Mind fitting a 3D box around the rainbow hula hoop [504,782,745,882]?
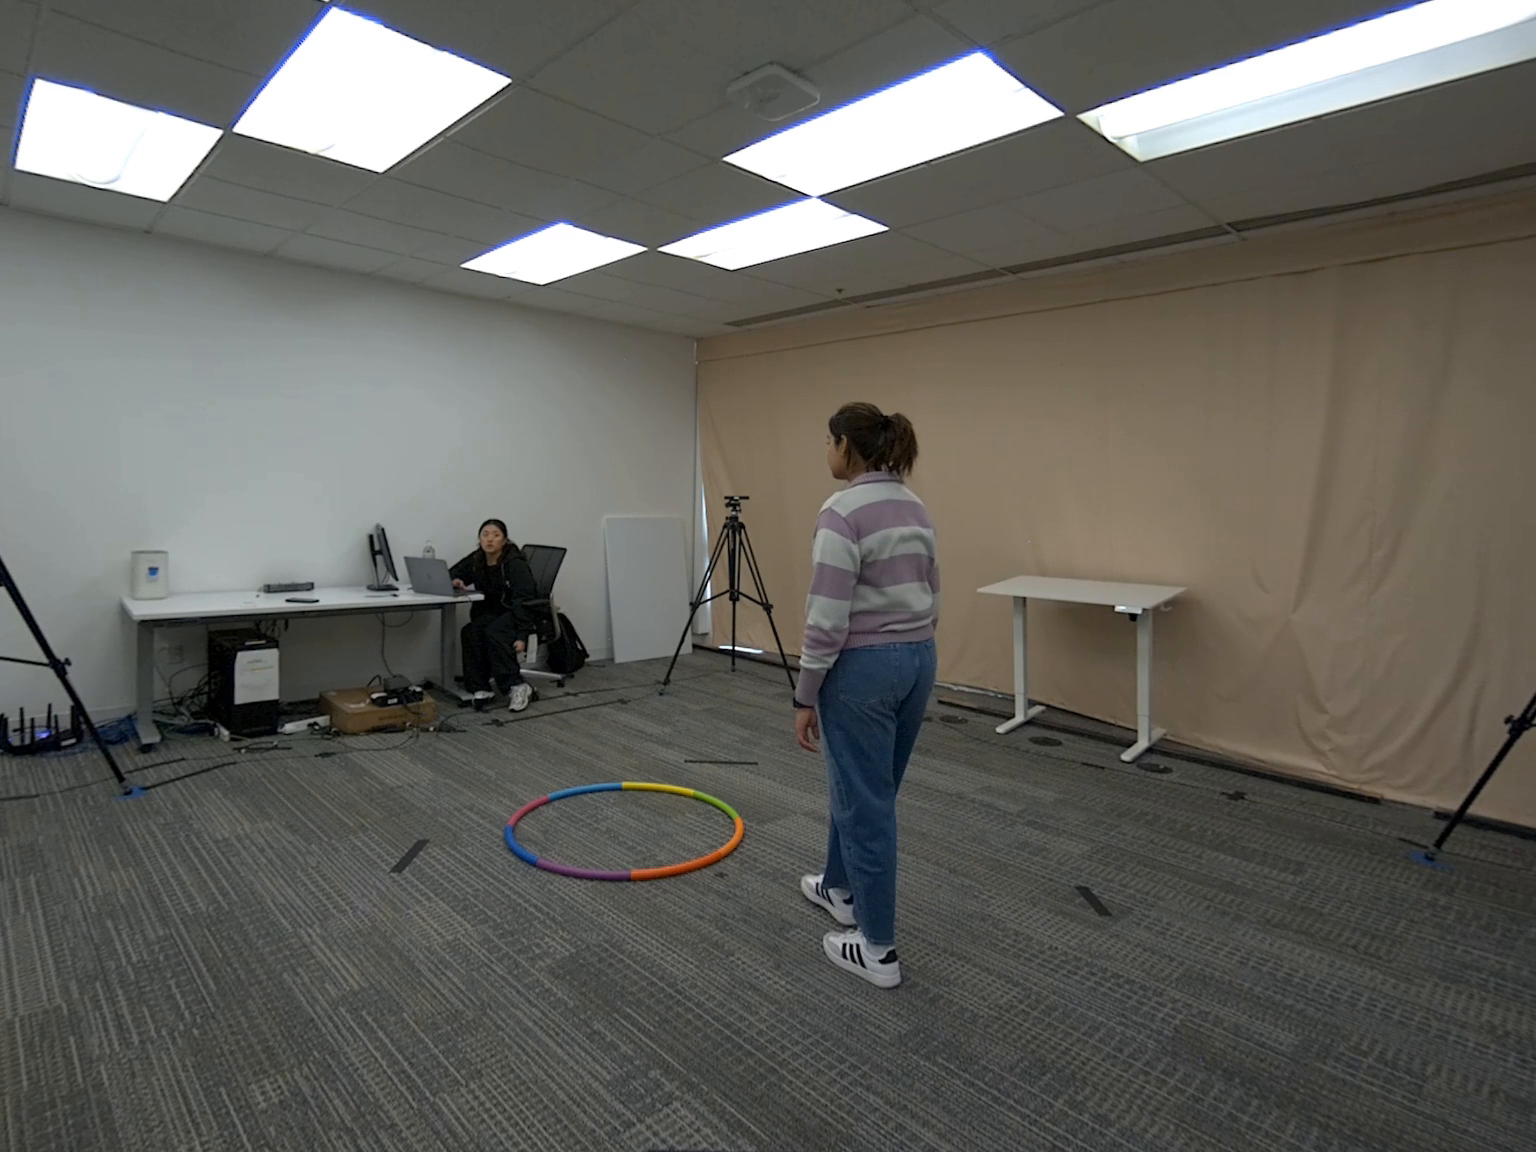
[{"bbox_3d":[-0.599,1.028,3.515,0.978,0.035,0.982,2,5,-1],"label":"rainbow hula hoop"}]
